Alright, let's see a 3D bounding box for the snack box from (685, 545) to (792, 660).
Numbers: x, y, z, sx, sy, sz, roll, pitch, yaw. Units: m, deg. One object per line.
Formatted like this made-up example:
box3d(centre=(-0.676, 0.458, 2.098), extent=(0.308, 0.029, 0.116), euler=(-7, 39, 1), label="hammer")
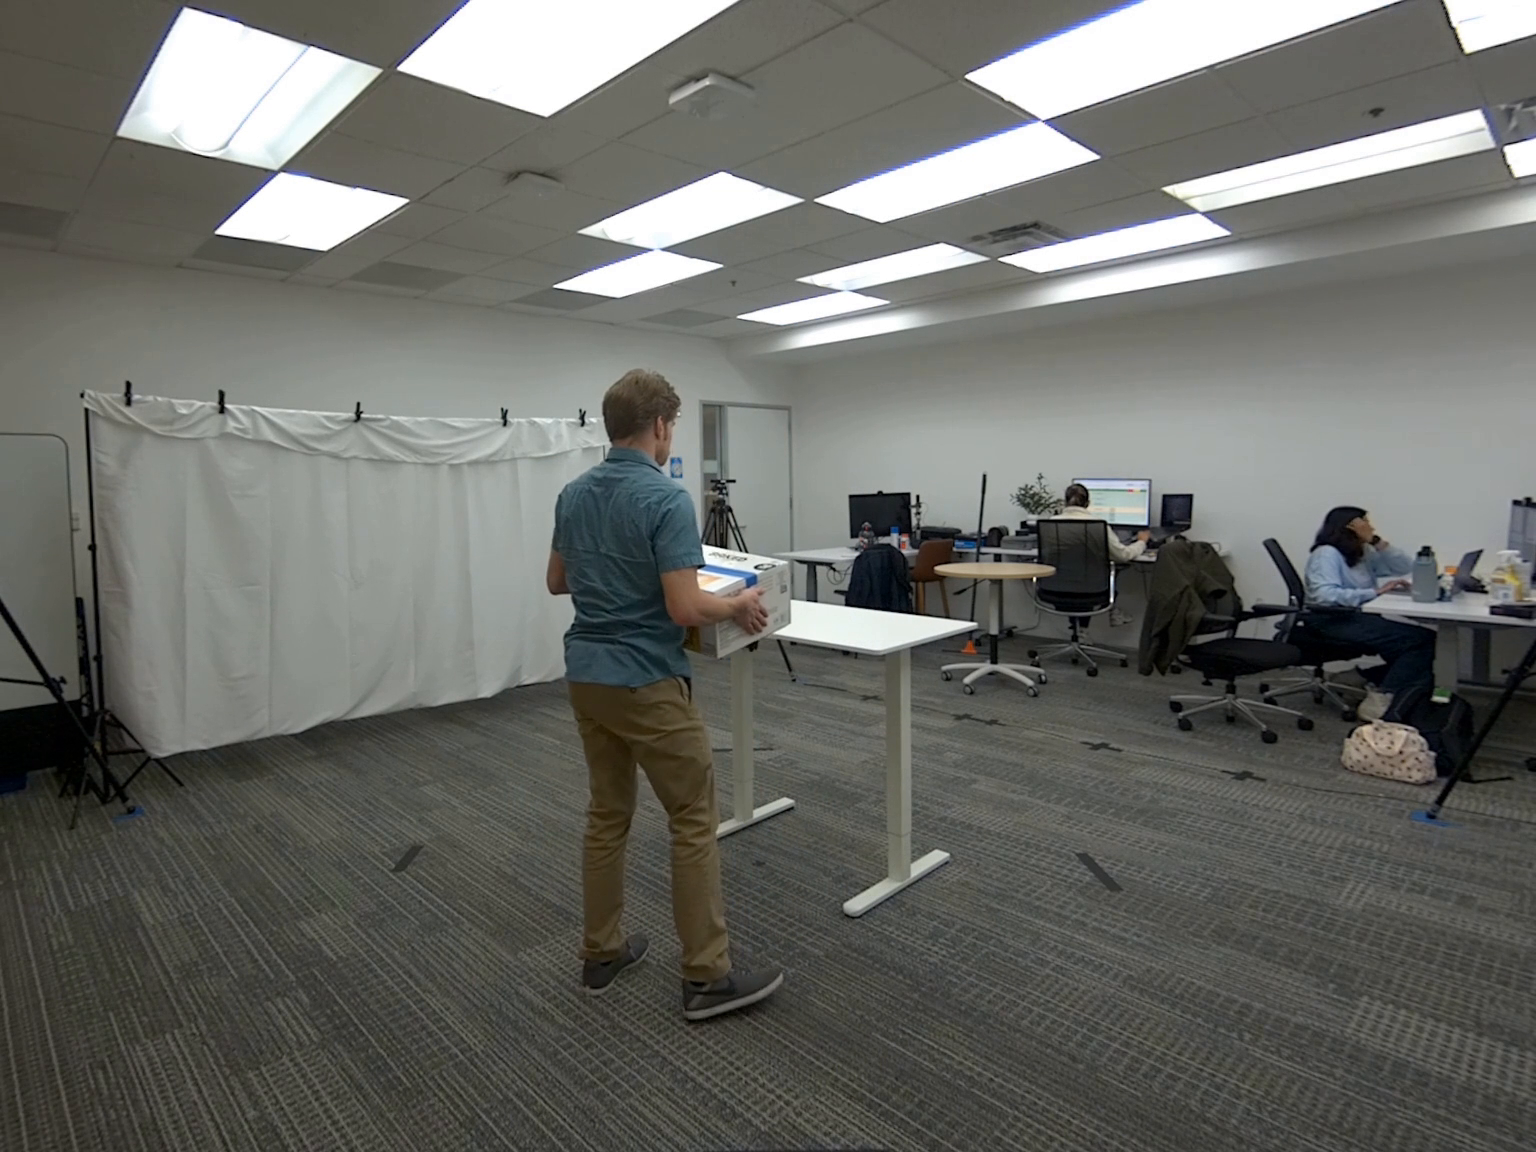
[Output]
box3d(centre=(-0.186, 0.062, 2.615), extent=(0.419, 0.202, 0.334), euler=(11, 22, 39), label="snack box")
